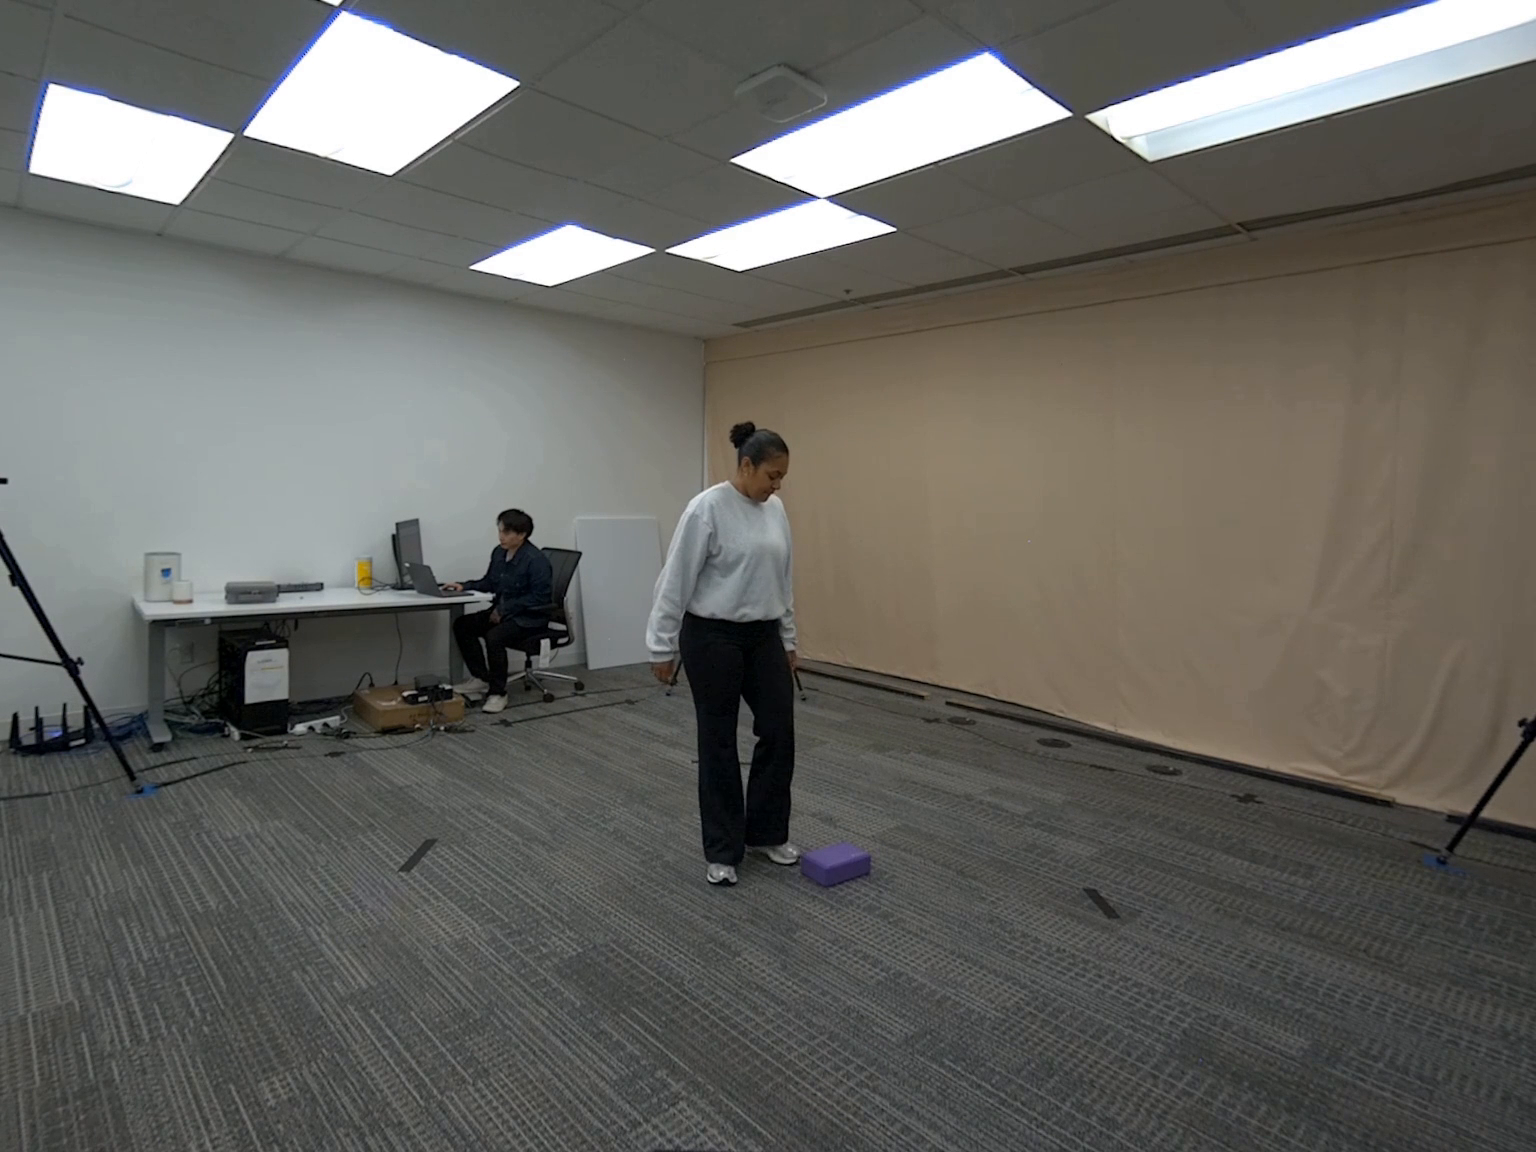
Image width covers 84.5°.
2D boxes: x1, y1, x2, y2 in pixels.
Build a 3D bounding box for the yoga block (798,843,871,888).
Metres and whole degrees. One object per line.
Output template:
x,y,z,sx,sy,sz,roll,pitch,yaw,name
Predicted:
0.245,1.070,3.135,0.224,0.076,0.153,-2,5,-37,yoga block
